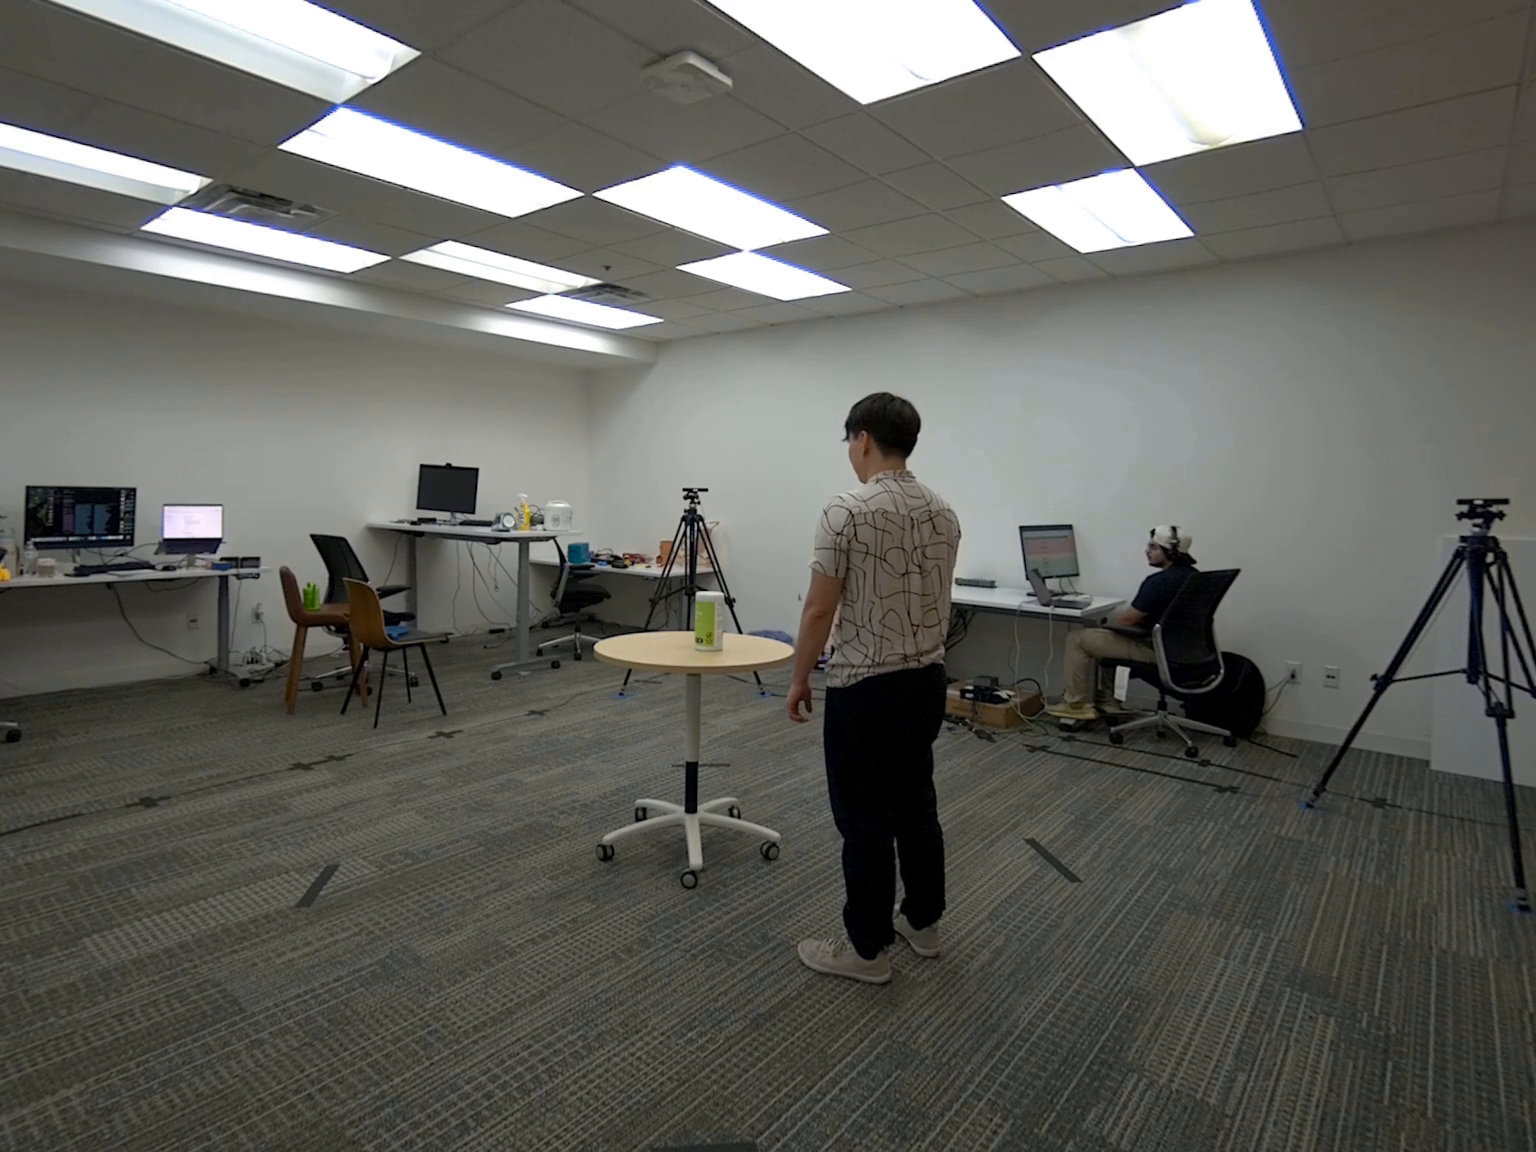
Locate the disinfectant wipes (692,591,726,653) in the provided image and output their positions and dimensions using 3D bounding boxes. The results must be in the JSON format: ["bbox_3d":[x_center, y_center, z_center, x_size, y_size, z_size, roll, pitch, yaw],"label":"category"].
[{"bbox_3d":[-0.233,0.171,3.226,0.118,0.217,0.118,0,4,-2],"label":"disinfectant wipes"}]
